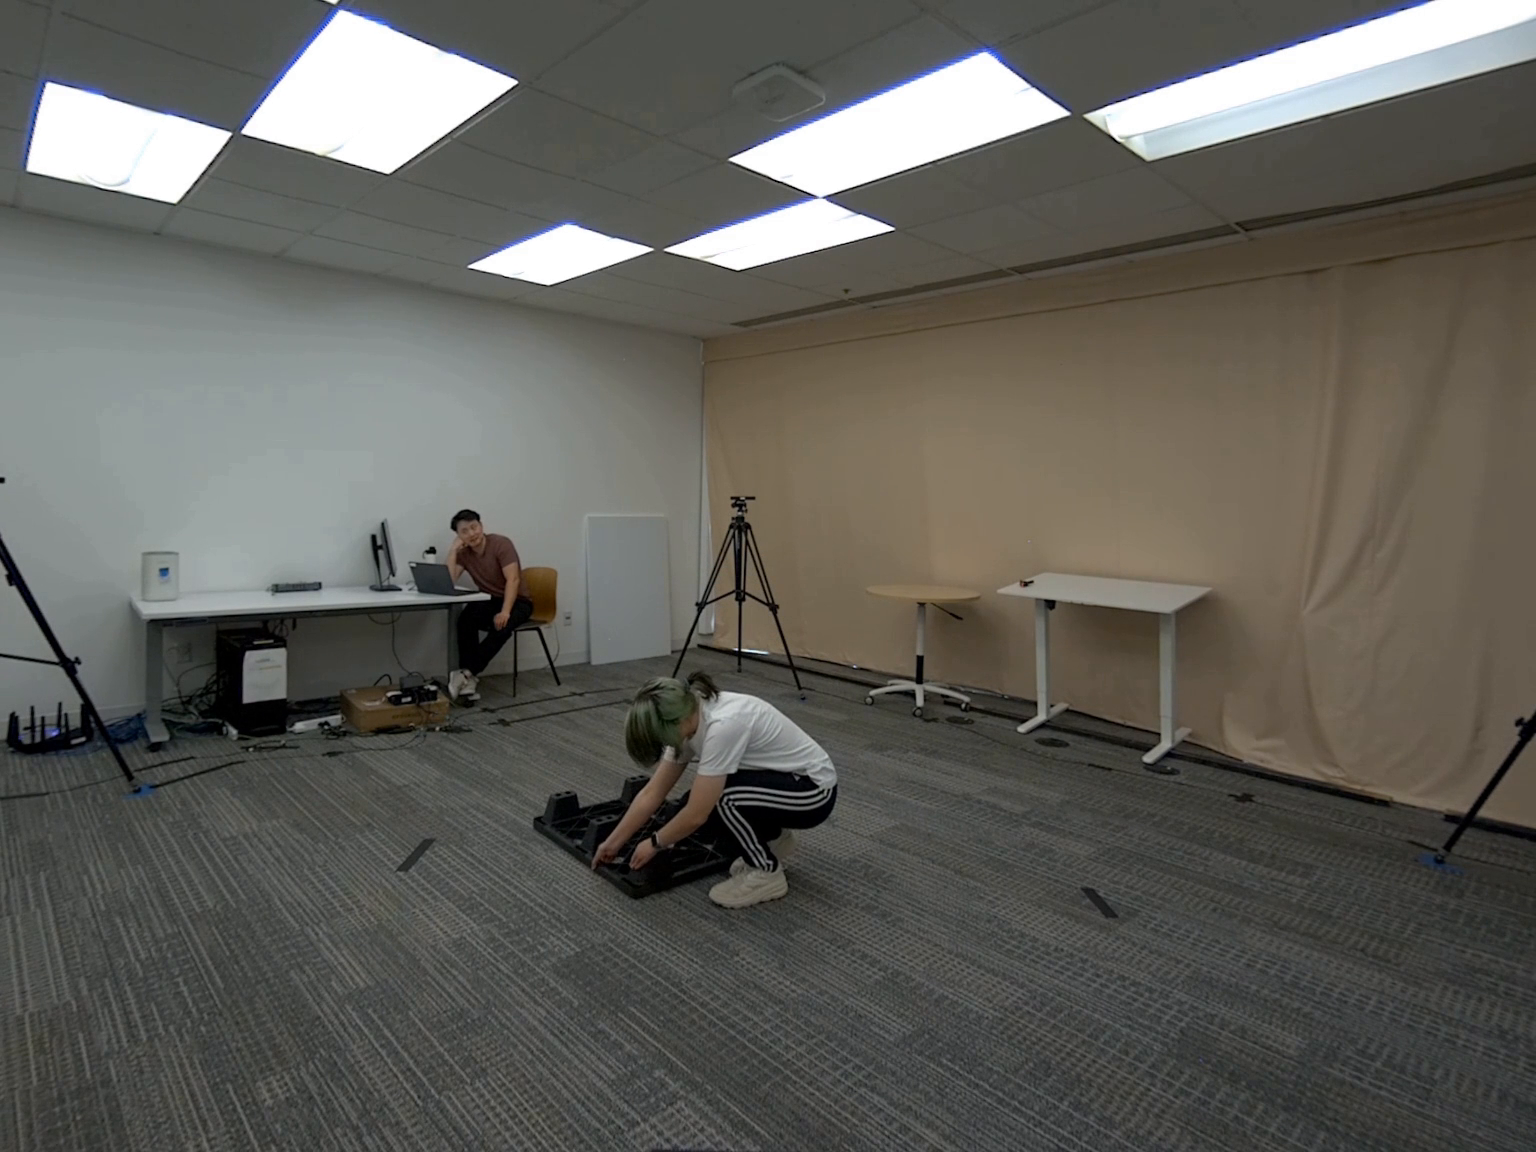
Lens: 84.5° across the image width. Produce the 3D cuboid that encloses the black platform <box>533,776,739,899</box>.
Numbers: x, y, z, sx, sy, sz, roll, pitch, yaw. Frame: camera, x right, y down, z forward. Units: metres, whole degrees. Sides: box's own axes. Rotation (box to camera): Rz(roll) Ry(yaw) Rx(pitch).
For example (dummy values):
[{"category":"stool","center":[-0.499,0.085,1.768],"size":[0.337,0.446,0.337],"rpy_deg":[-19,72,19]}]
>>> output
[{"category":"black platform","center":[-0.496,1.004,3.382],"size":[0.592,0.143,0.826],"rpy_deg":[-4,8,-40]}]
